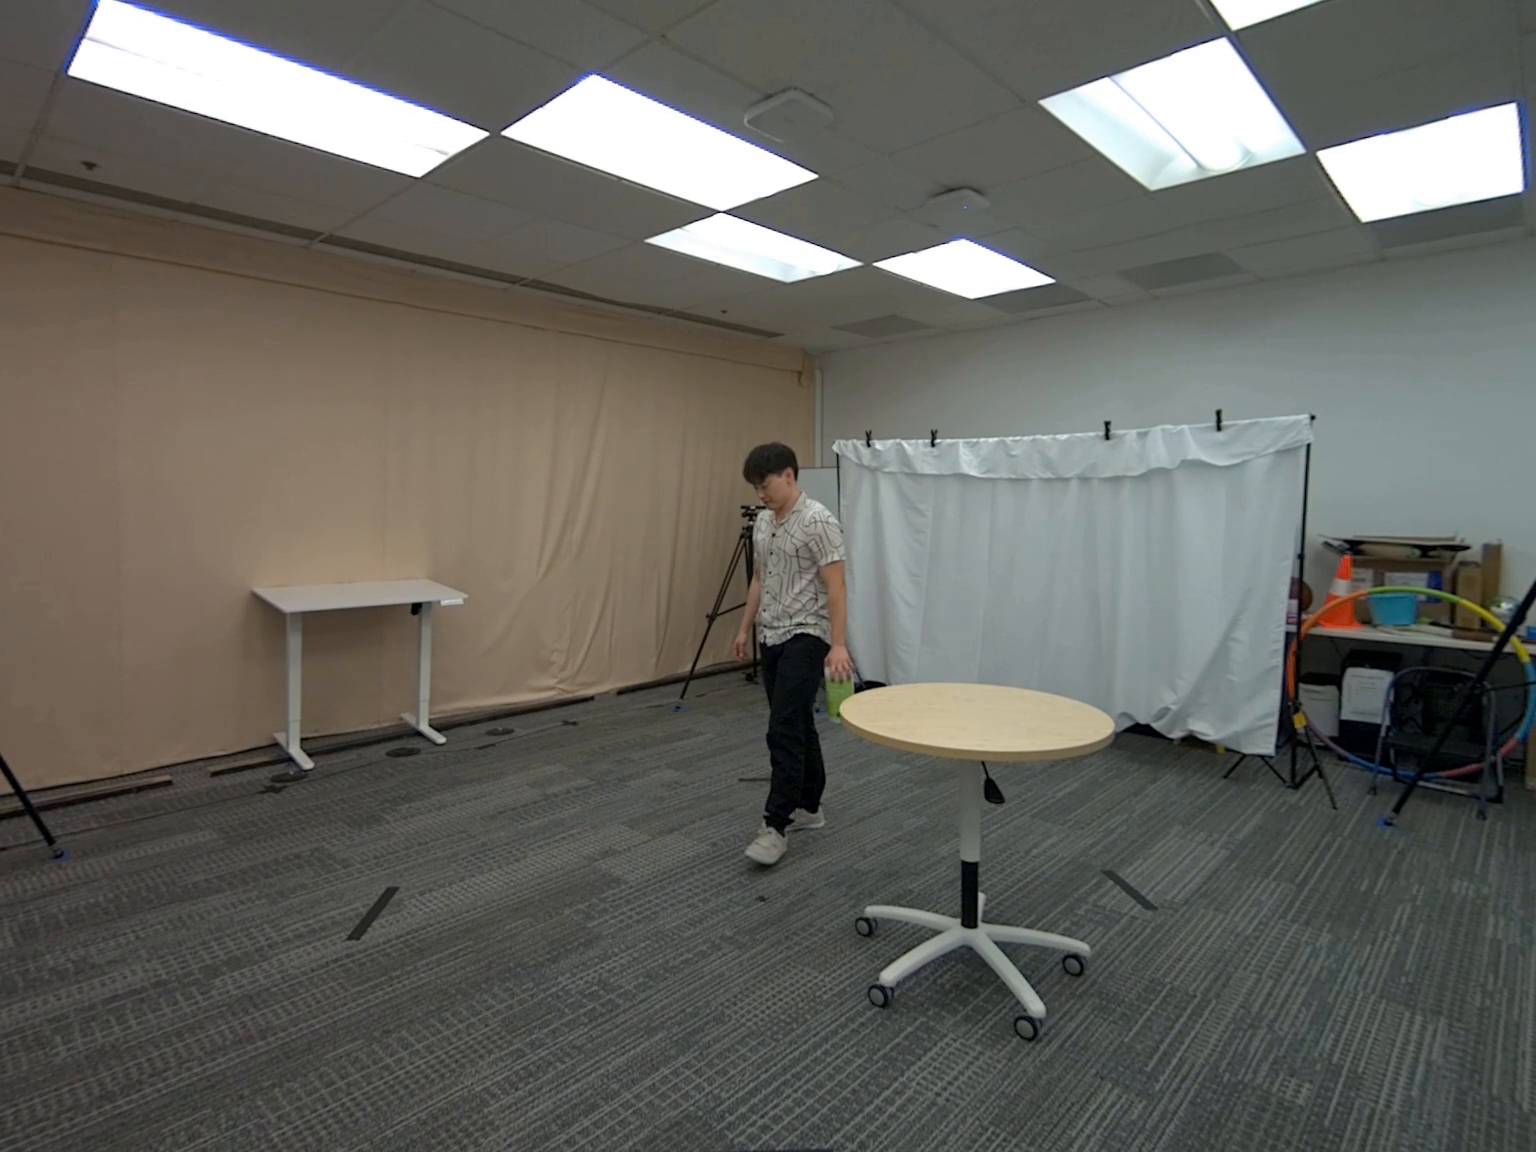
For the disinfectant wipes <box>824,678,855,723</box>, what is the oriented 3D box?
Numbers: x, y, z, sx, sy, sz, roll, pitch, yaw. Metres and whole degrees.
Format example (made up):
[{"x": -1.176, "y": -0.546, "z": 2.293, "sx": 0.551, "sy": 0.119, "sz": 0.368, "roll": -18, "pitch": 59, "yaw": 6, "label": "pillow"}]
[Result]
[{"x": 0.284, "y": 0.463, "z": 3.309, "sx": 0.118, "sy": 0.215, "sz": 0.119, "roll": -6, "pitch": 13, "yaw": 0, "label": "disinfectant wipes"}]
